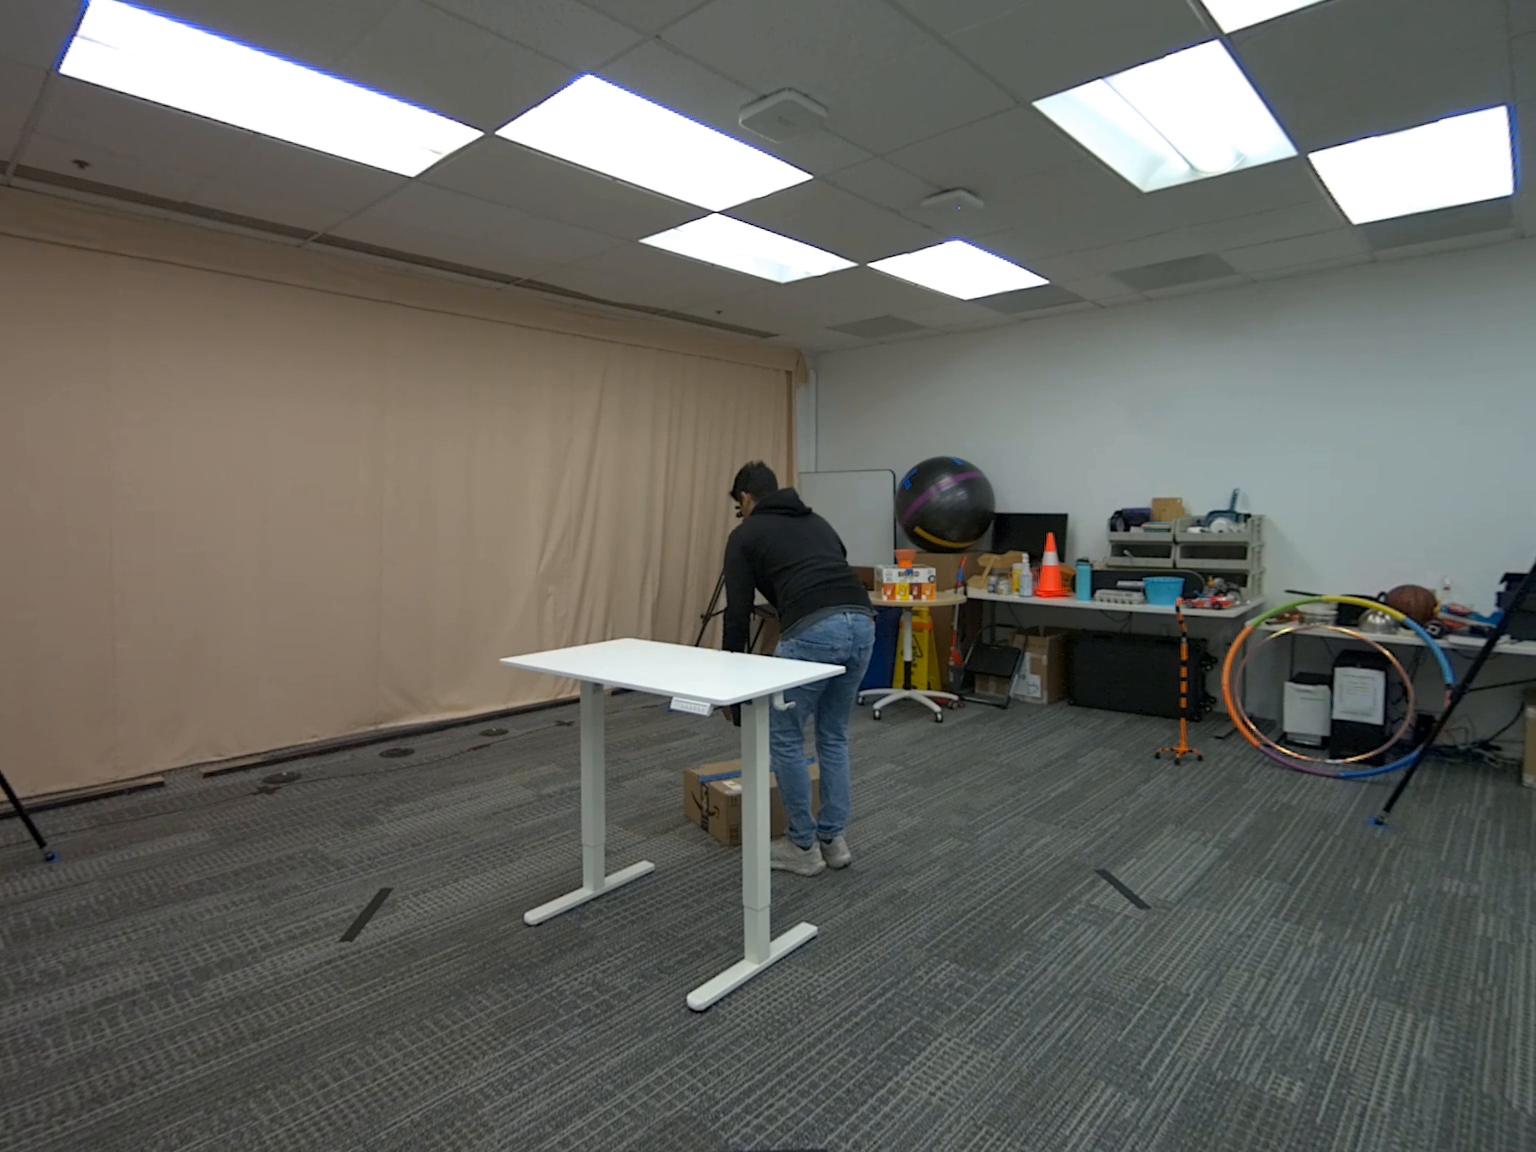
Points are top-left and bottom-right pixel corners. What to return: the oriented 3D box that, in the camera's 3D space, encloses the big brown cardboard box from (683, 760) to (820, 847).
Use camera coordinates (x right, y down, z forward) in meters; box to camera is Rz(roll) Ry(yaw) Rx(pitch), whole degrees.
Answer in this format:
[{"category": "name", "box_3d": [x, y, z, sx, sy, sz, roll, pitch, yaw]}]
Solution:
[{"category": "big brown cardboard box", "box_3d": [-0.037, 0.974, 3.740, 0.573, 0.233, 0.429, -1, 4, -30]}]
